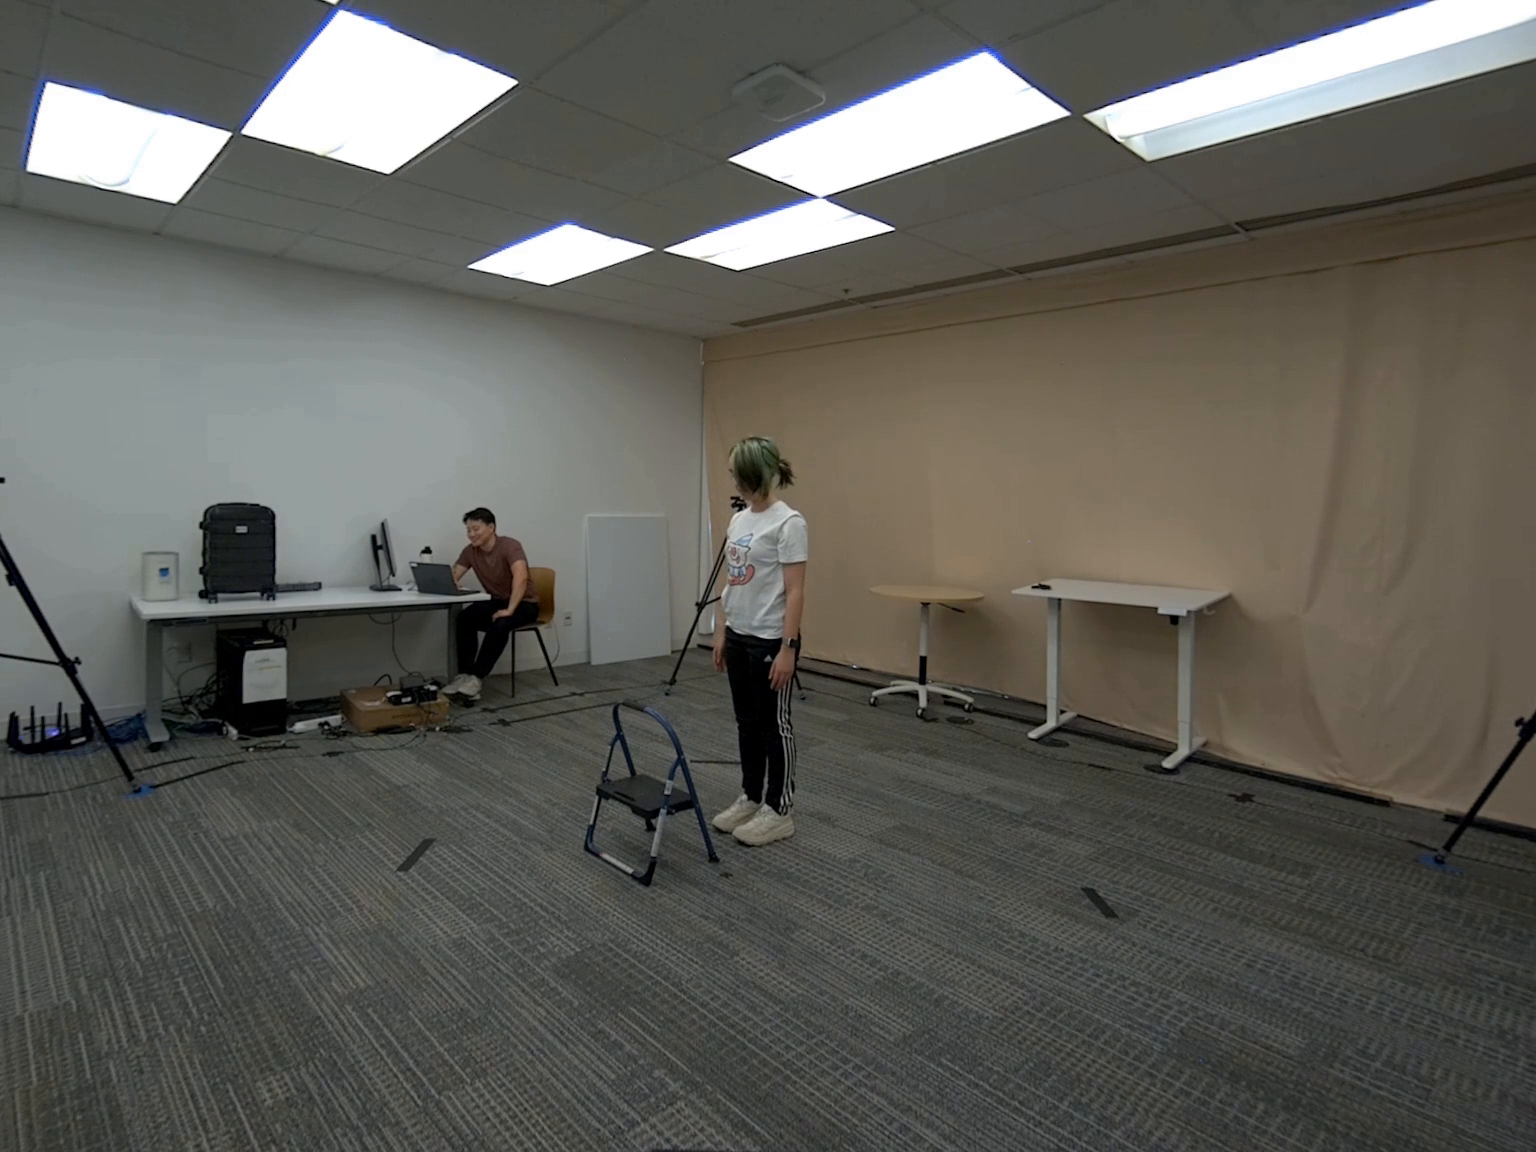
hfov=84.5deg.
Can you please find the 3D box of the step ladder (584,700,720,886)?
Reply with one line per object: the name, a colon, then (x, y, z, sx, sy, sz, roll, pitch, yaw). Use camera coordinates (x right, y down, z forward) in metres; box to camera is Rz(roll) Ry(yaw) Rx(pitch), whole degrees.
step ladder: (-0.453, 0.782, 3.243, 0.341, 0.605, 0.441, -1, 4, -44)
